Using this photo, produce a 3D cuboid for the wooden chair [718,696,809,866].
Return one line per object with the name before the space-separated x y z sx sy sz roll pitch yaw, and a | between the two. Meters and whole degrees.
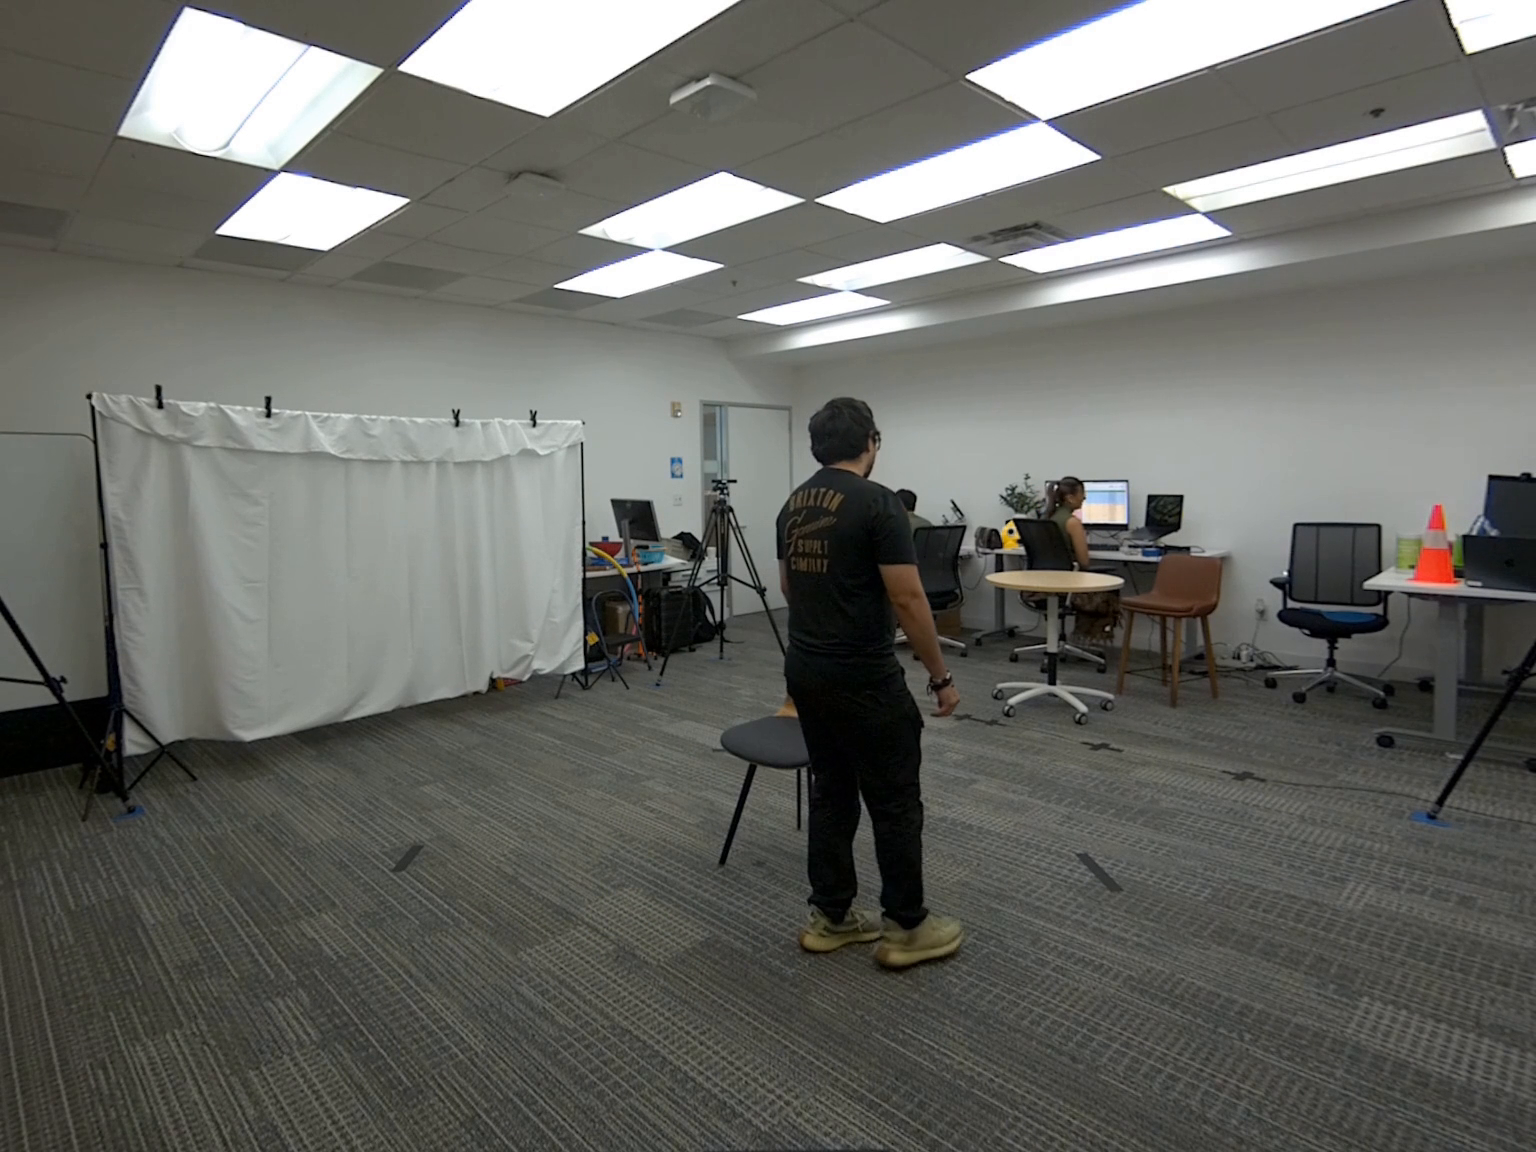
wooden chair | 0.128 0.621 3.071 0.493 0.877 0.507 3 1 44
